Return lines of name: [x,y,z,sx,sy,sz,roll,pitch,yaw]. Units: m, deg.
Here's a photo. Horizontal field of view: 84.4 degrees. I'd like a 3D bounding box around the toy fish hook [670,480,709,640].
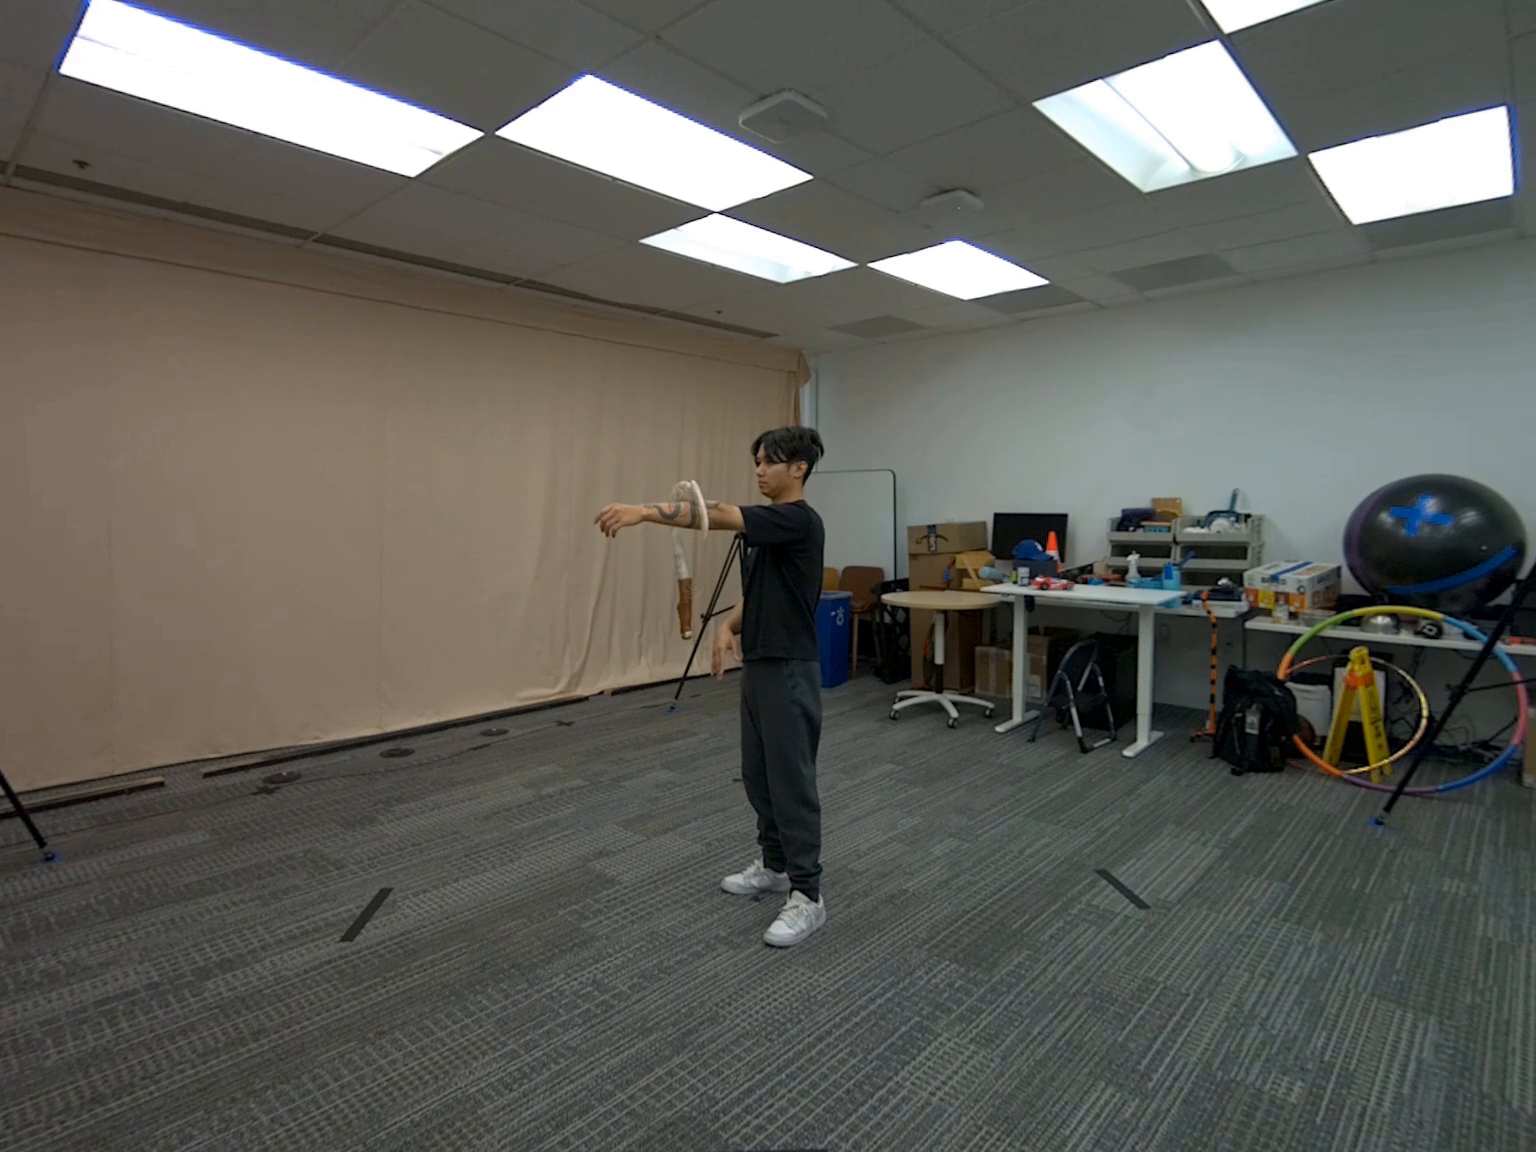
toy fish hook: [-0.236,-0.040,2.652,0.047,0.506,0.231,-5,3,-30]
